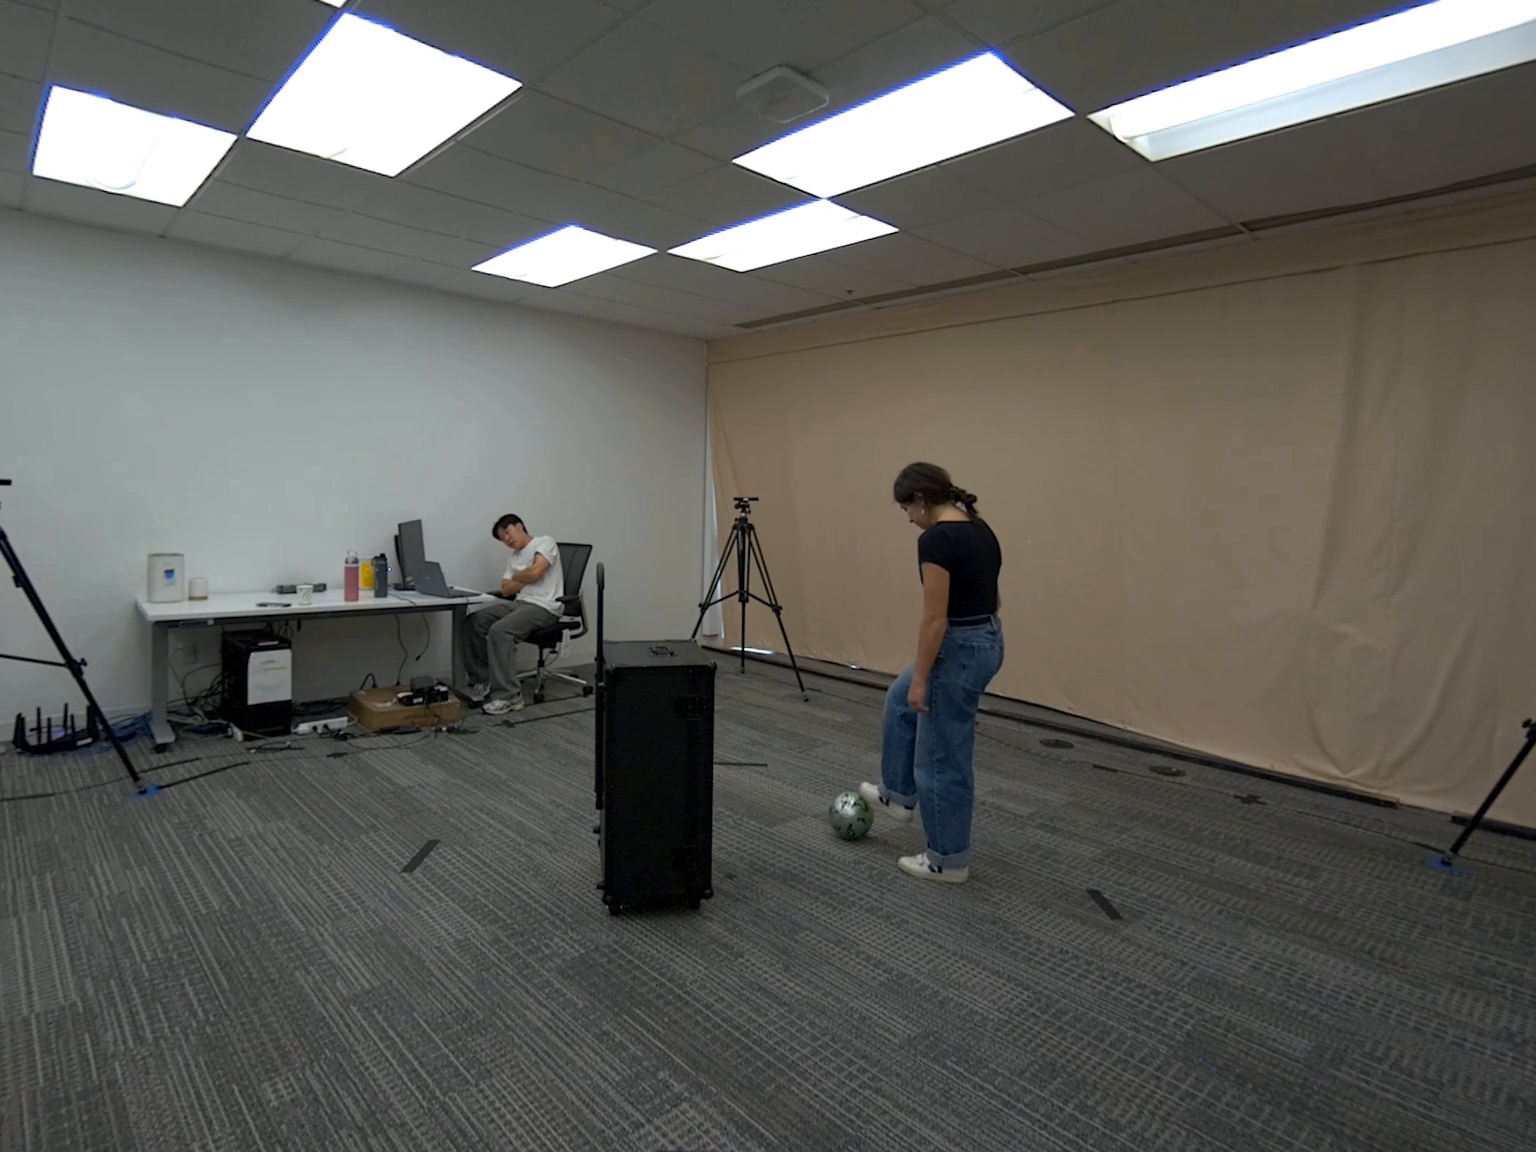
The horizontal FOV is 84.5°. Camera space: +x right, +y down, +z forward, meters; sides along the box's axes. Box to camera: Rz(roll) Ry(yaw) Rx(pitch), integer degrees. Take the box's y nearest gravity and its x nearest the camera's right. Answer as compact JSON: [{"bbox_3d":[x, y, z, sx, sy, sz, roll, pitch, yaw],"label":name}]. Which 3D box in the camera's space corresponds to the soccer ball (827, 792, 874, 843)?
[{"bbox_3d":[0.330,0.993,3.491,0.187,0.187,0.188,1,4,-1],"label":"soccer ball"}]
